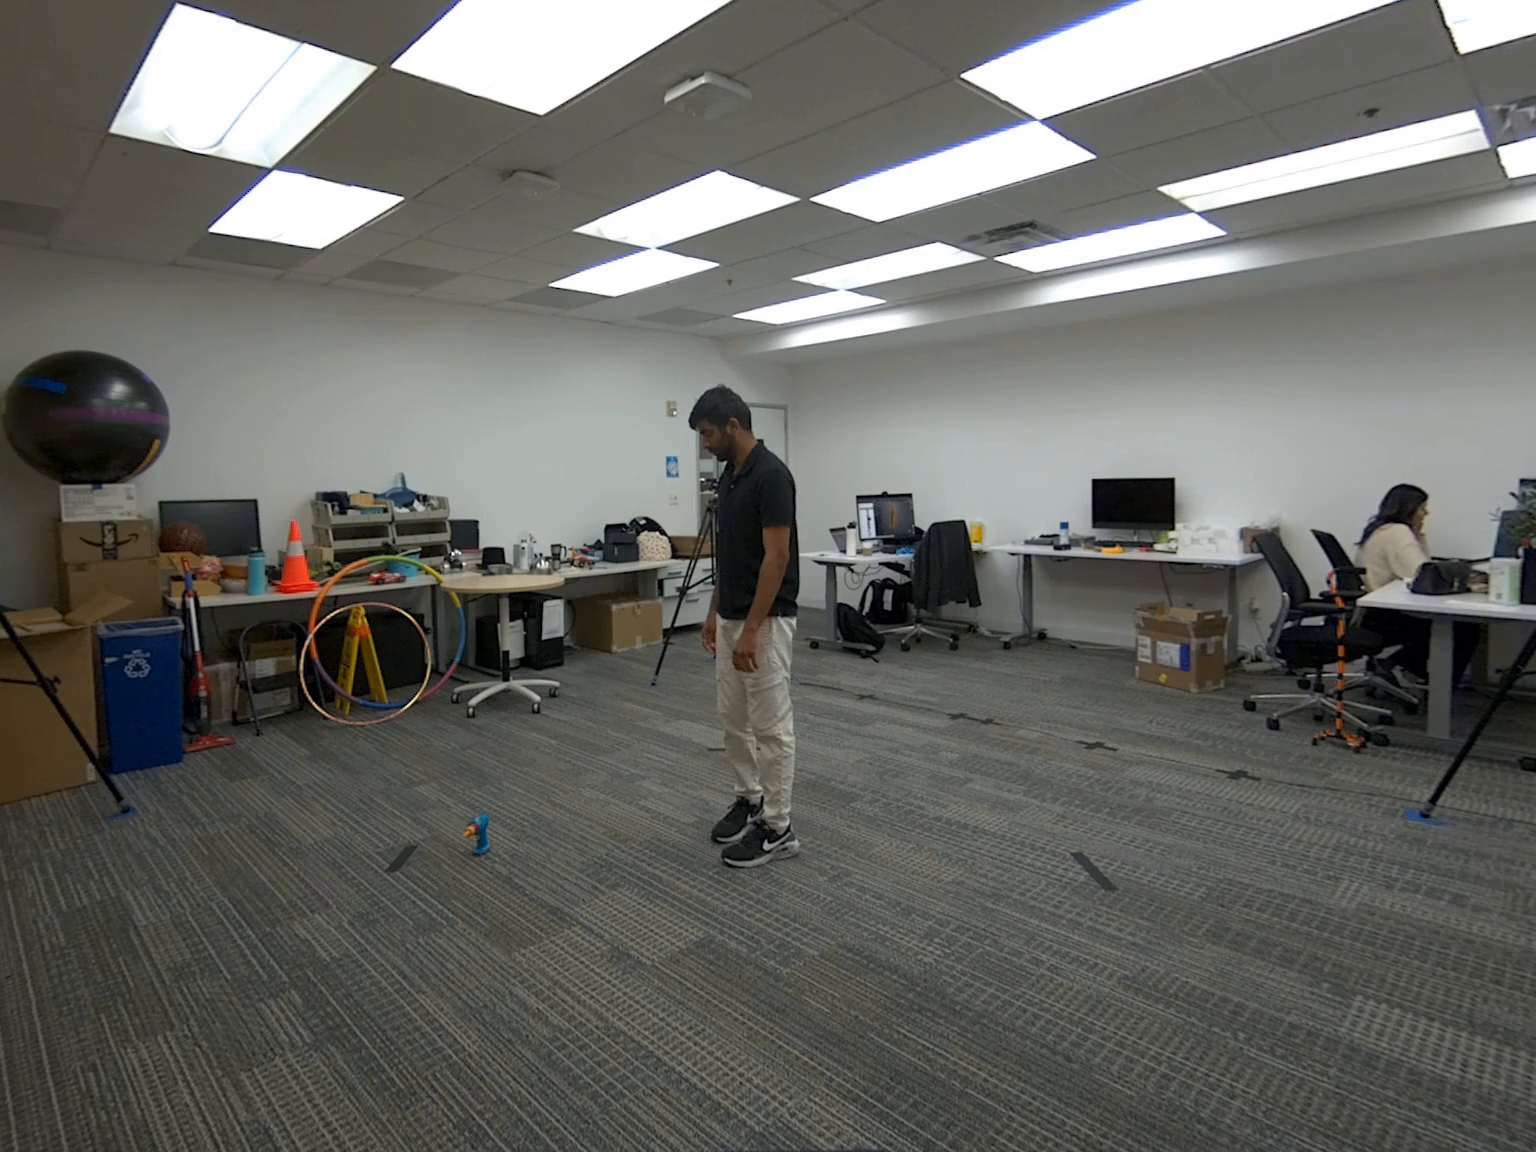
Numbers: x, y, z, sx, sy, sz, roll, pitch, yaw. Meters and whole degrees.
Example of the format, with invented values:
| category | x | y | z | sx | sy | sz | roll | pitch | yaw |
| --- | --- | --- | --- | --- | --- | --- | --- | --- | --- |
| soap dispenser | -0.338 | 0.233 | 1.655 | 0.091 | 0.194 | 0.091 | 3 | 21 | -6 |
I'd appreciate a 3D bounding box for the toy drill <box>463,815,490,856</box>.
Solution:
| category | x | y | z | sx | sy | sz | roll | pitch | yaw |
| --- | --- | --- | --- | --- | --- | --- | --- | --- | --- |
| toy drill | -1.090 | 0.982 | 3.209 | 0.062 | 0.145 | 0.169 | 1 | 5 | 8 |
